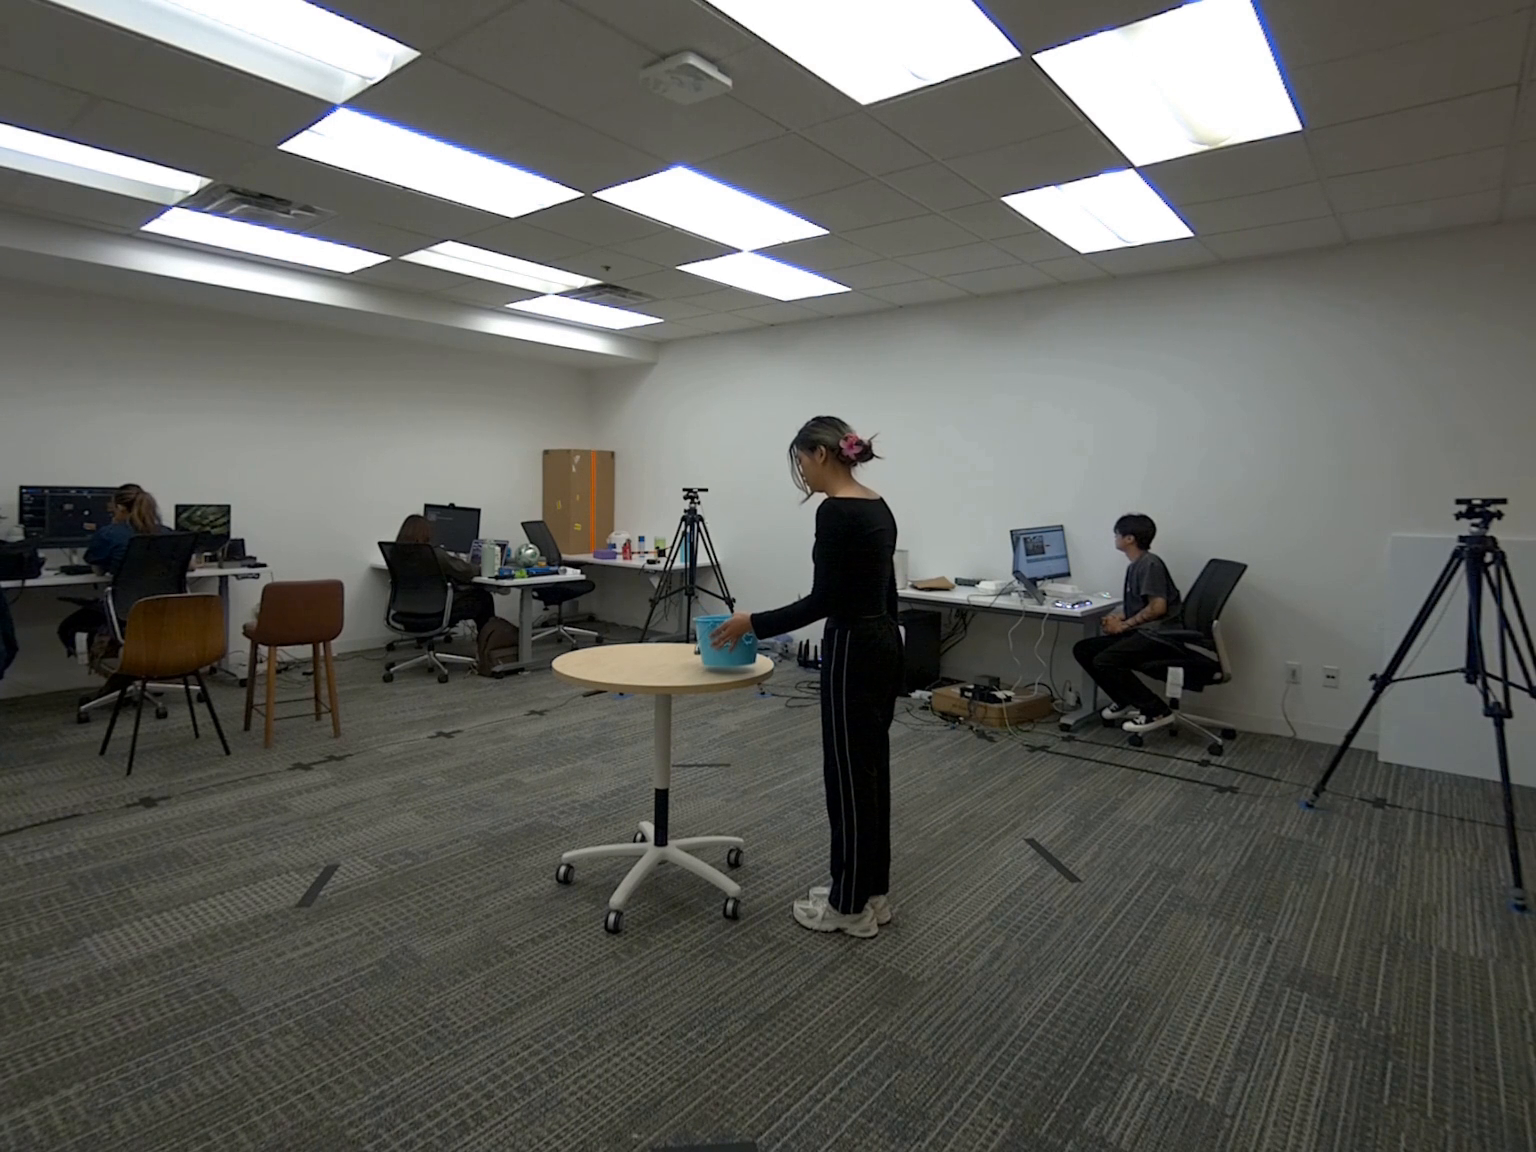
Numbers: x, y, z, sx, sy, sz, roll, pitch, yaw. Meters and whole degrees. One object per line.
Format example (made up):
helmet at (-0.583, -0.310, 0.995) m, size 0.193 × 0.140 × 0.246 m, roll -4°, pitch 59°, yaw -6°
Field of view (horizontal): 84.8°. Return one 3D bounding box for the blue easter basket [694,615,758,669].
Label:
blue easter basket at (-0.138, 0.217, 2.839) m, size 0.243 × 0.156 × 0.243 m, roll -2°, pitch 0°, yaw -2°
